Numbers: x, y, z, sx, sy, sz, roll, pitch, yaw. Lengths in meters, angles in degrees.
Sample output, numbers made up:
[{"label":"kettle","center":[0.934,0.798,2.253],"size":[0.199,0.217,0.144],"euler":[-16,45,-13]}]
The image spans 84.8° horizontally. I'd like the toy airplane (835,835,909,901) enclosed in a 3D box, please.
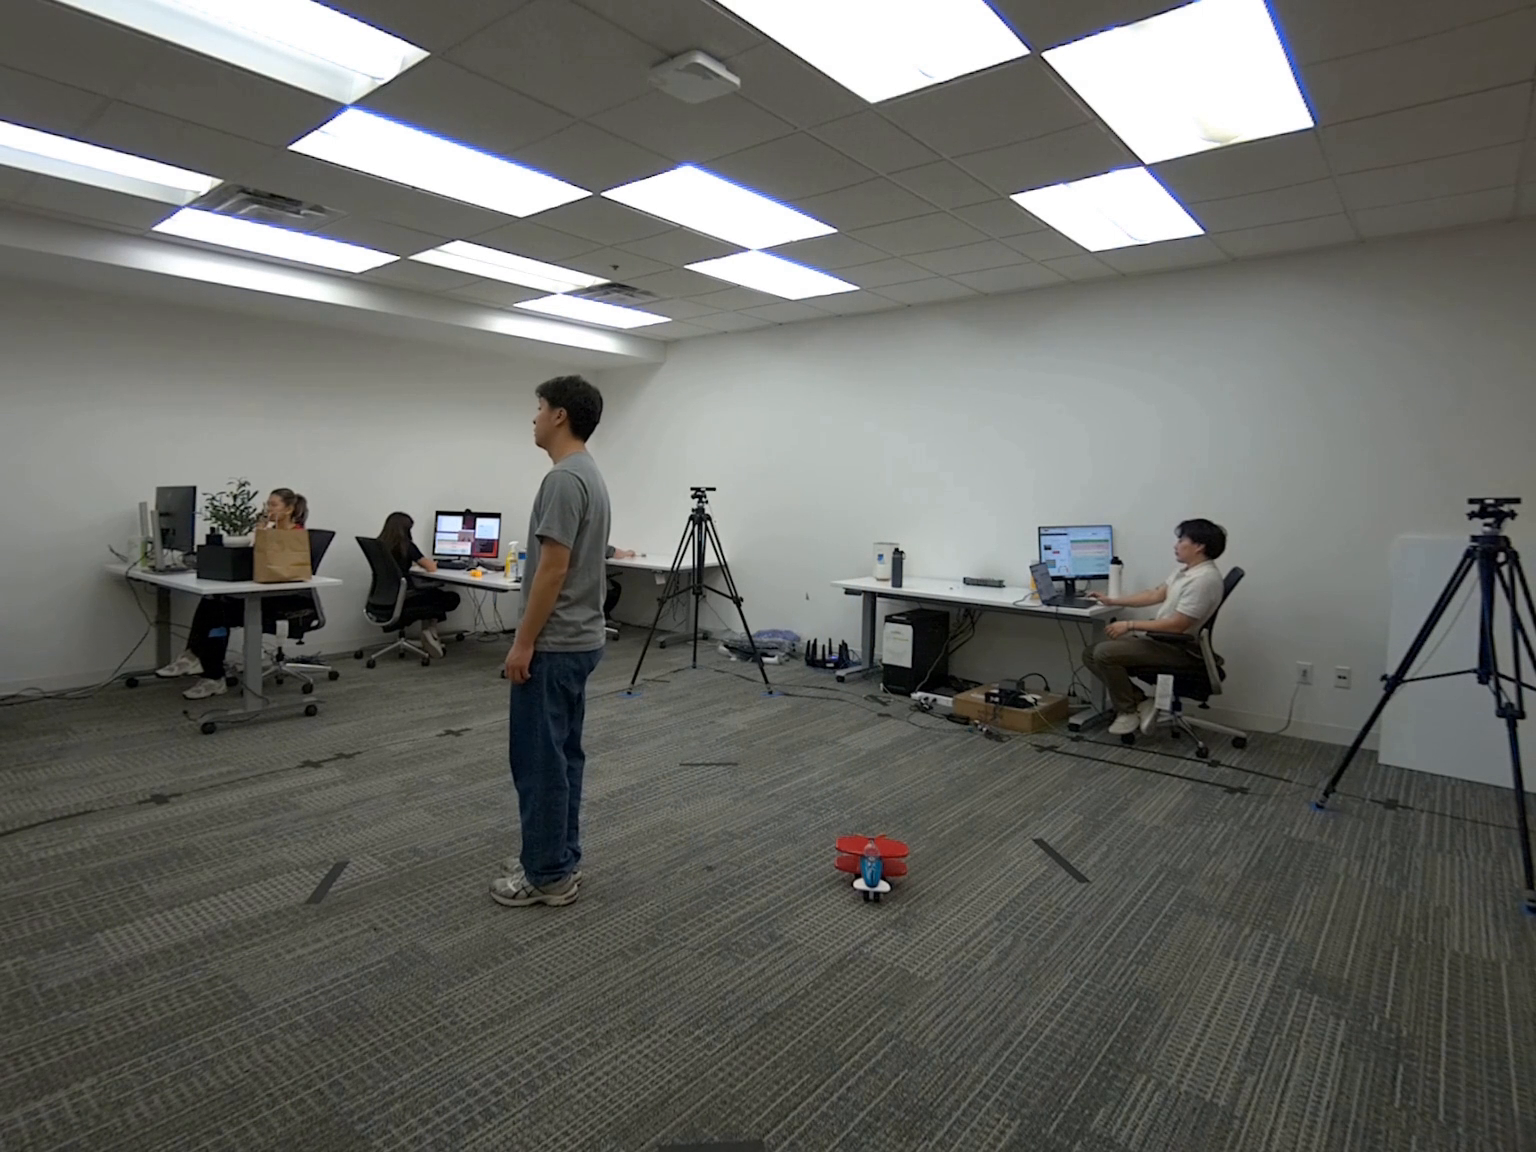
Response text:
[{"label":"toy airplane","center":[0.376,1.025,2.971],"size":[0.246,0.156,0.265],"euler":[-1,5,-21]}]
